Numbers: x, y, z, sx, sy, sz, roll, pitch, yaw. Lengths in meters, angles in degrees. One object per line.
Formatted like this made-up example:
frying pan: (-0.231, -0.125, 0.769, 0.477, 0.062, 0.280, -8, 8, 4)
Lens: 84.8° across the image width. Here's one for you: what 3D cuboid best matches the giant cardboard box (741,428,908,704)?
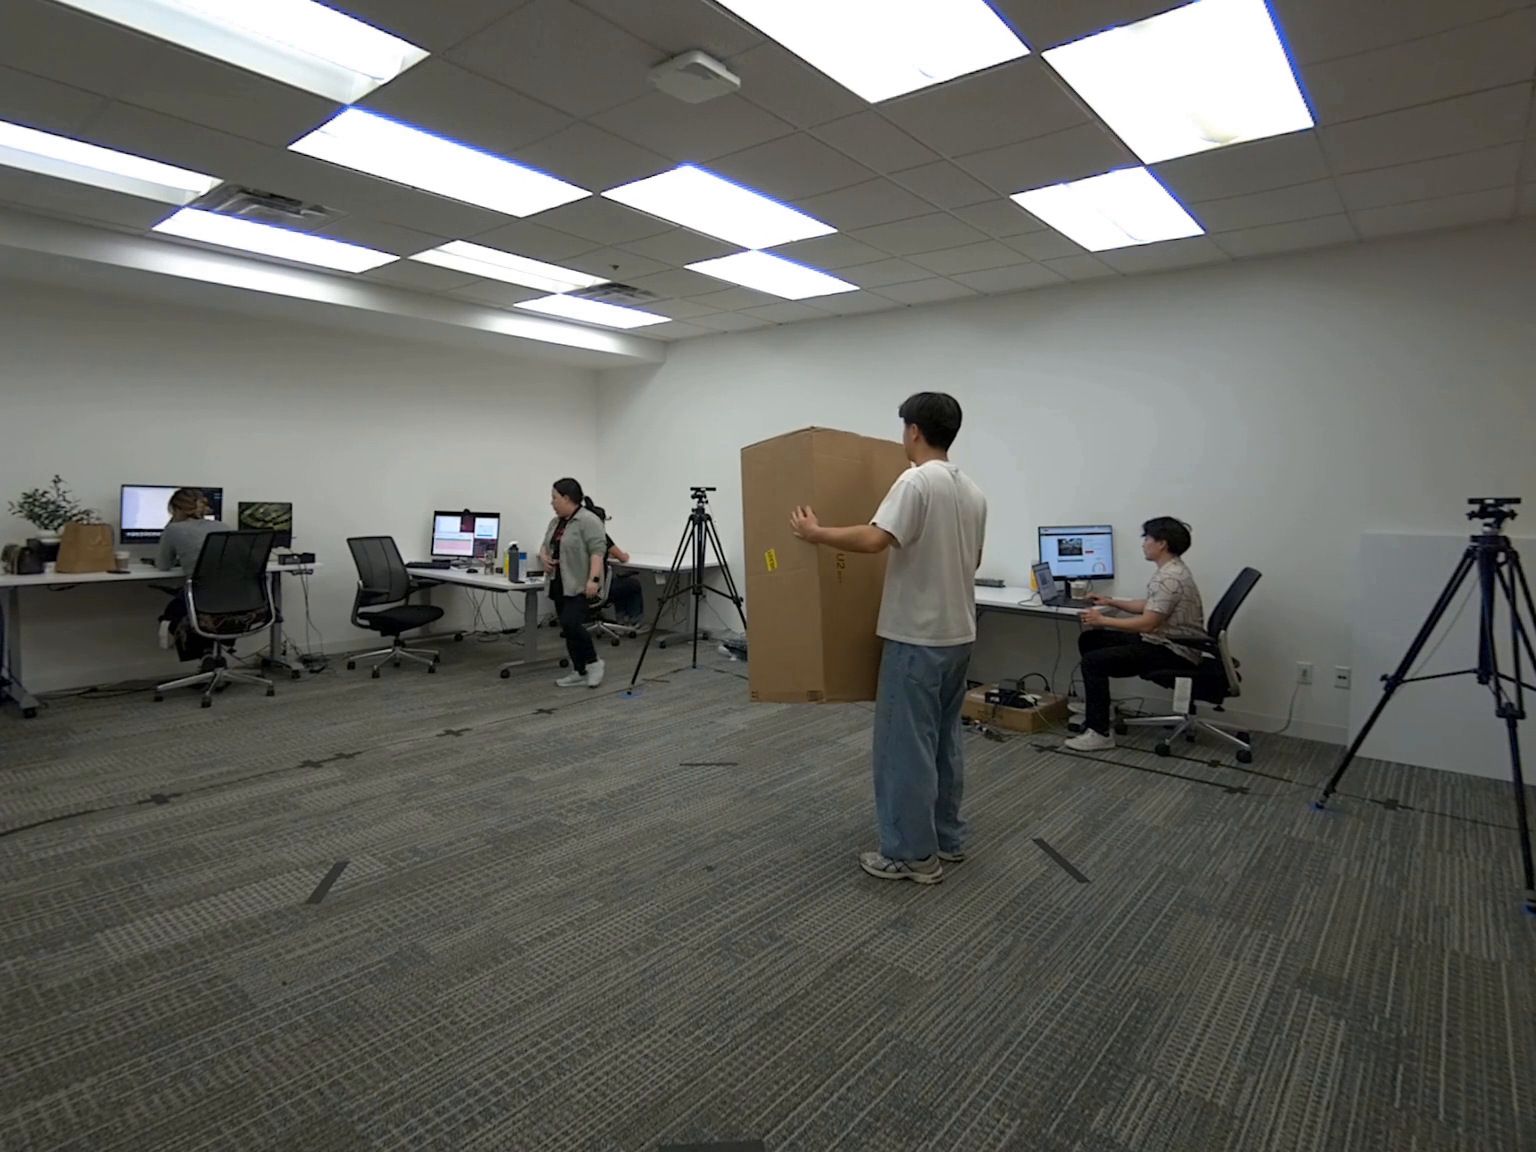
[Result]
giant cardboard box: (0.247, -0.022, 3.432, 0.558, 1.034, 0.437, 4, -10, -40)
